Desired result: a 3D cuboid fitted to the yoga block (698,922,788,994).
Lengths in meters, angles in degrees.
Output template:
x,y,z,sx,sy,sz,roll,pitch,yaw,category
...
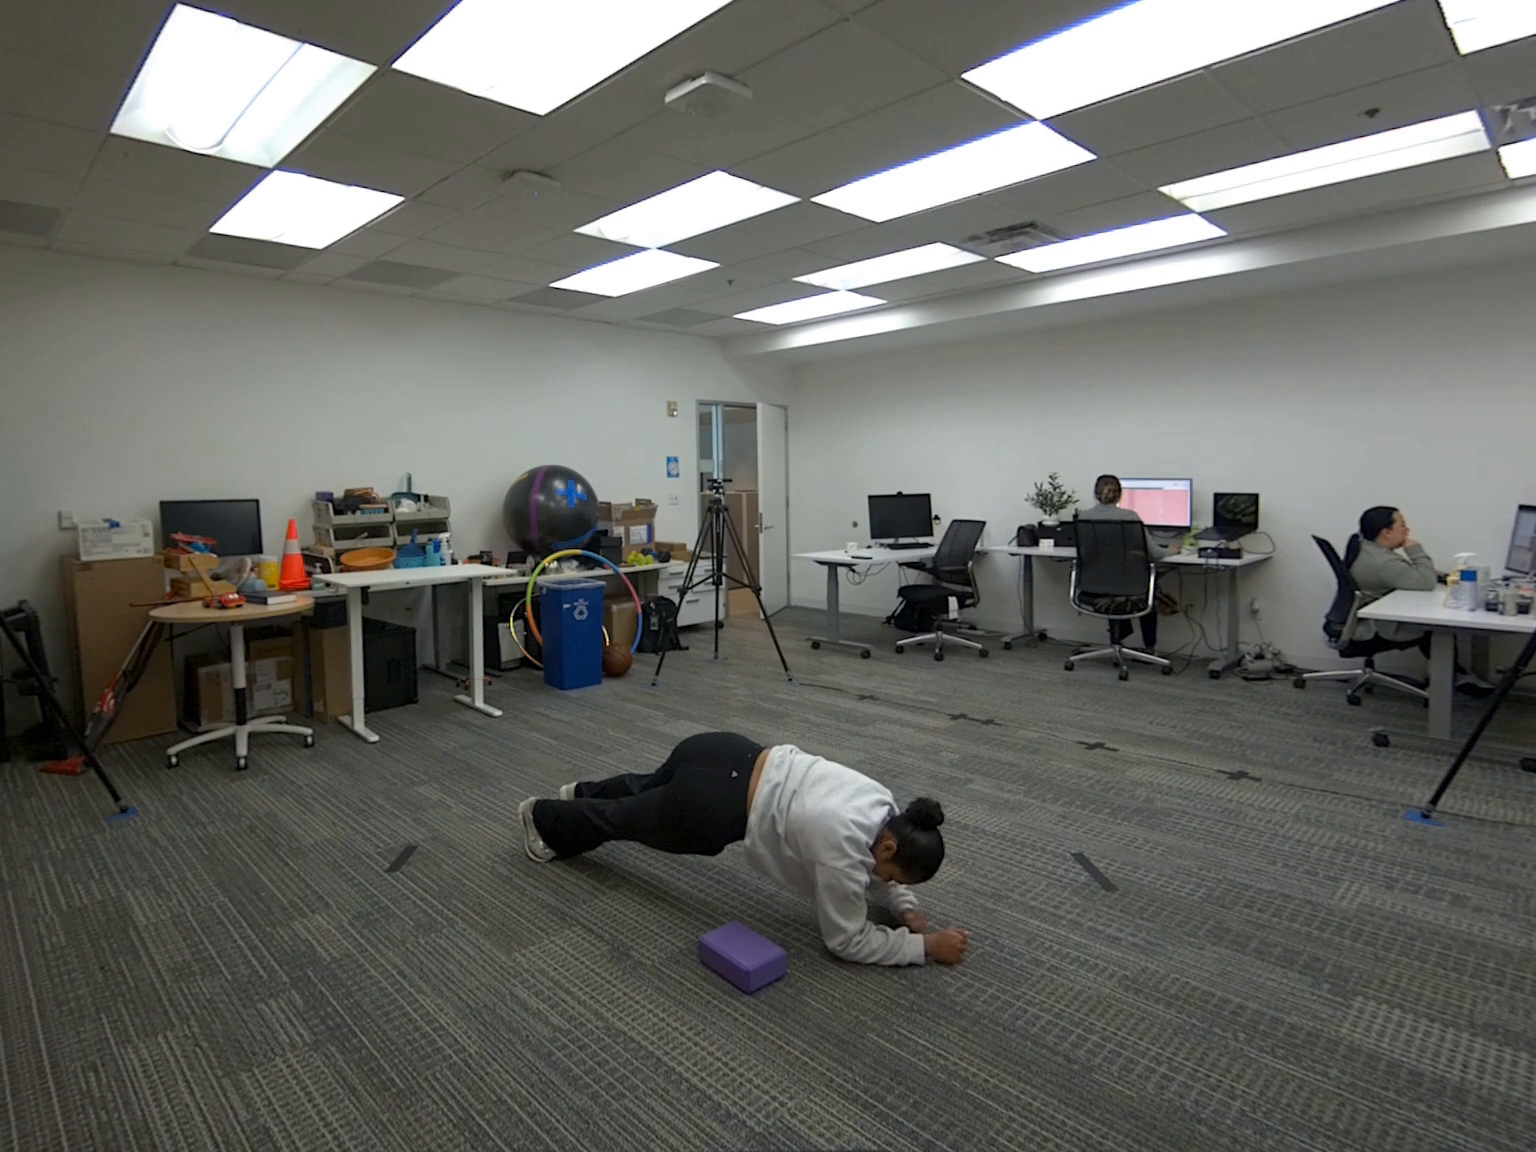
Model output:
x,y,z,sx,sy,sz,roll,pitch,yaw,category
-0.068,1.084,2.441,0.145,0.076,0.236,-7,9,-41,yoga block
